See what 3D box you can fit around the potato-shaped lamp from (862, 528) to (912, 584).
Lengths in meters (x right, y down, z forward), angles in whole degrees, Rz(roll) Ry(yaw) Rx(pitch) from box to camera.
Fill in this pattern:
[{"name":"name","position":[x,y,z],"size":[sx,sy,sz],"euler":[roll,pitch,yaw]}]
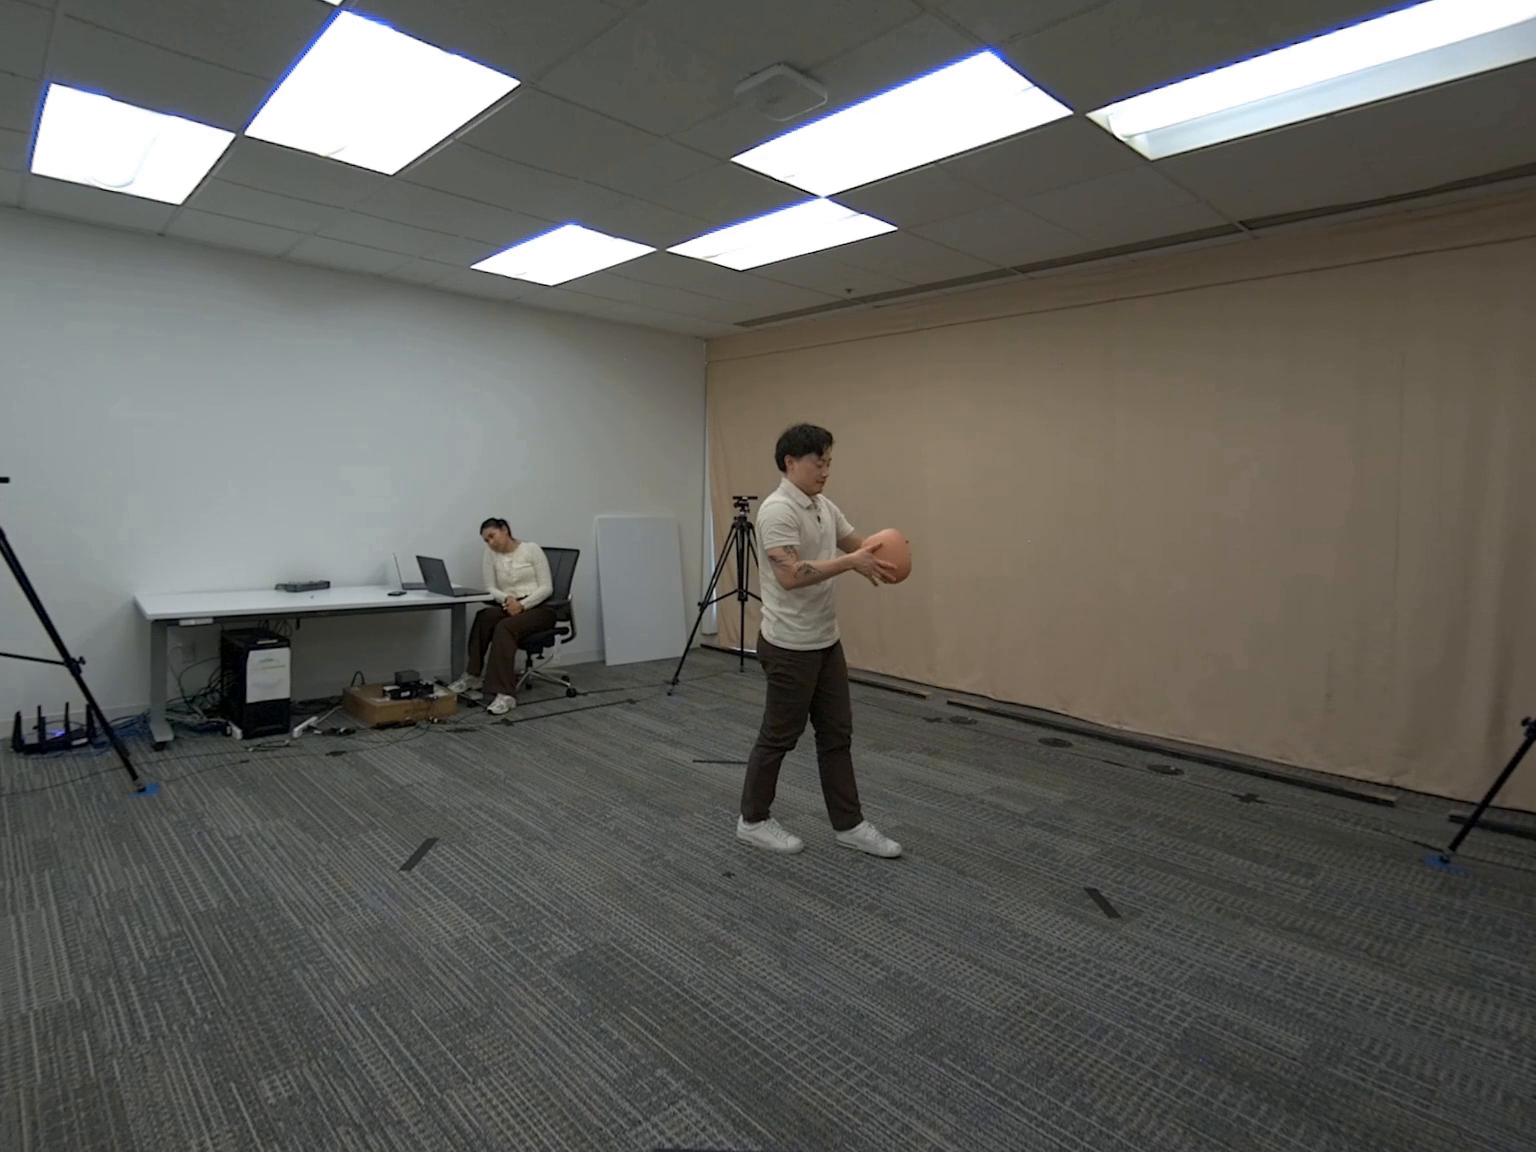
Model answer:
[{"name":"potato-shaped lamp","position":[0.429,-0.072,3.107],"size":[0.164,0.199,0.172],"euler":[-23,-2,-11]}]
